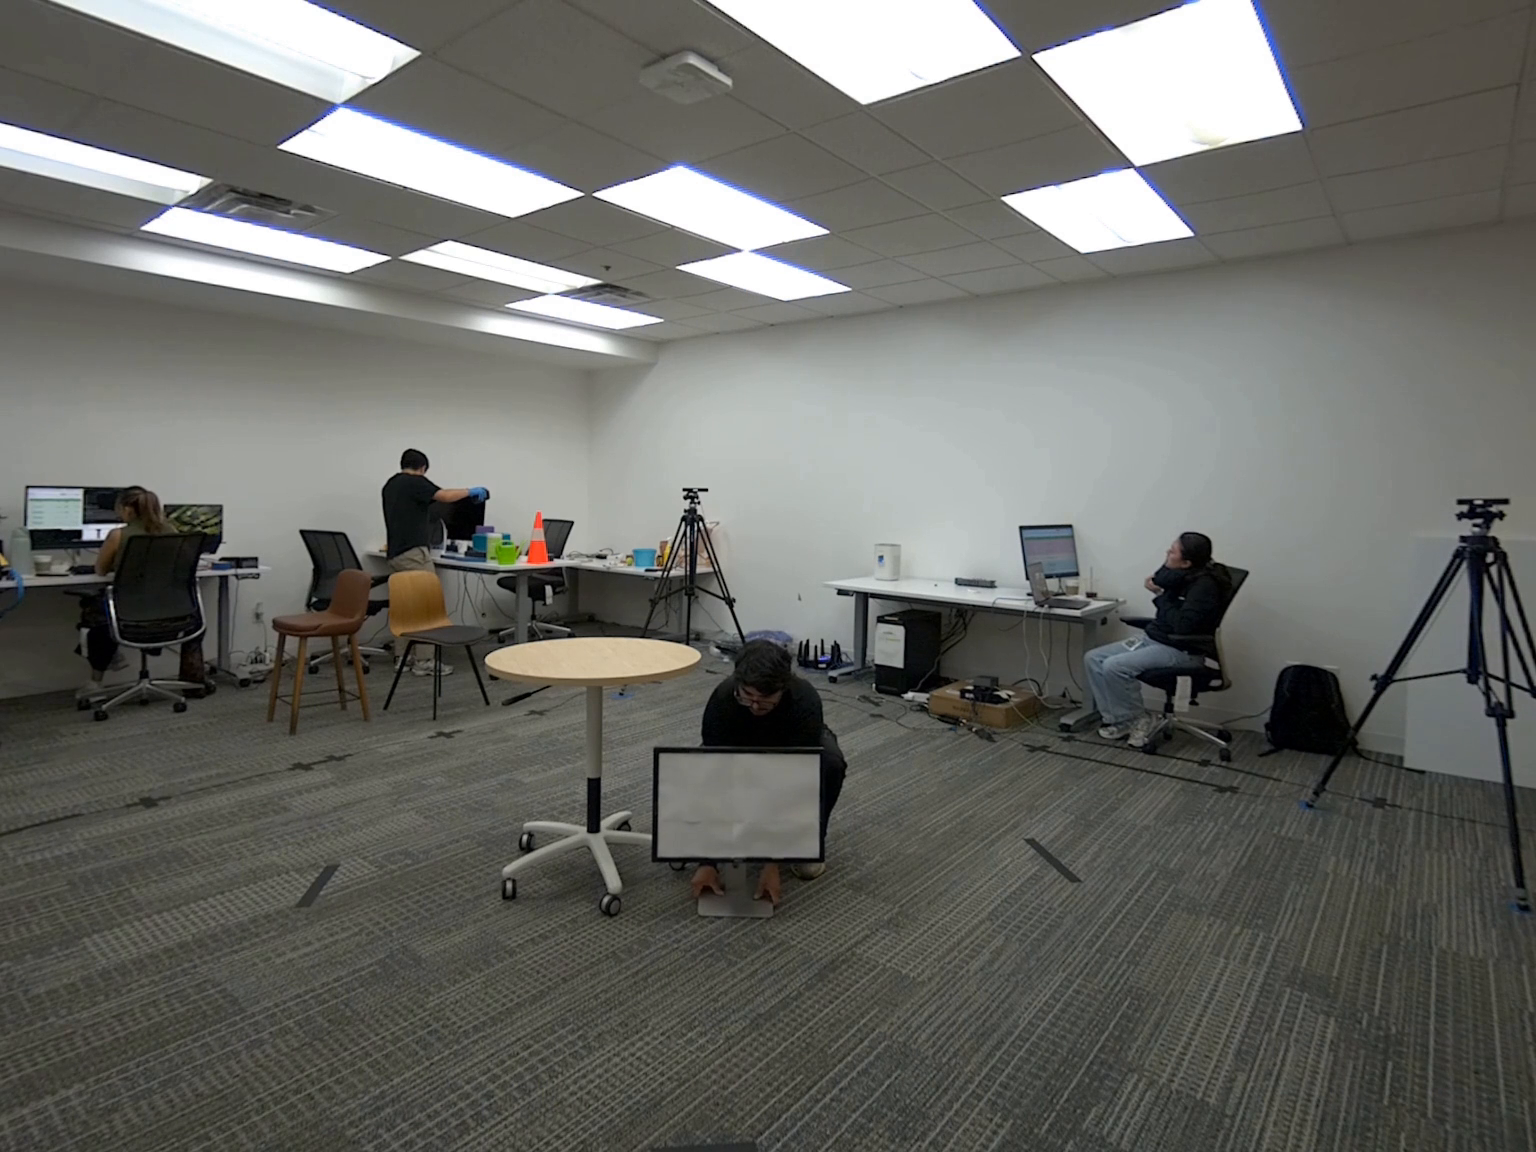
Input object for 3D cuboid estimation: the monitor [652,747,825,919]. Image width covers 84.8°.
[{"bbox_3d":[-0.109,0.816,2.835,0.563,0.552,0.211,0,4,-3],"label":"monitor"}]
